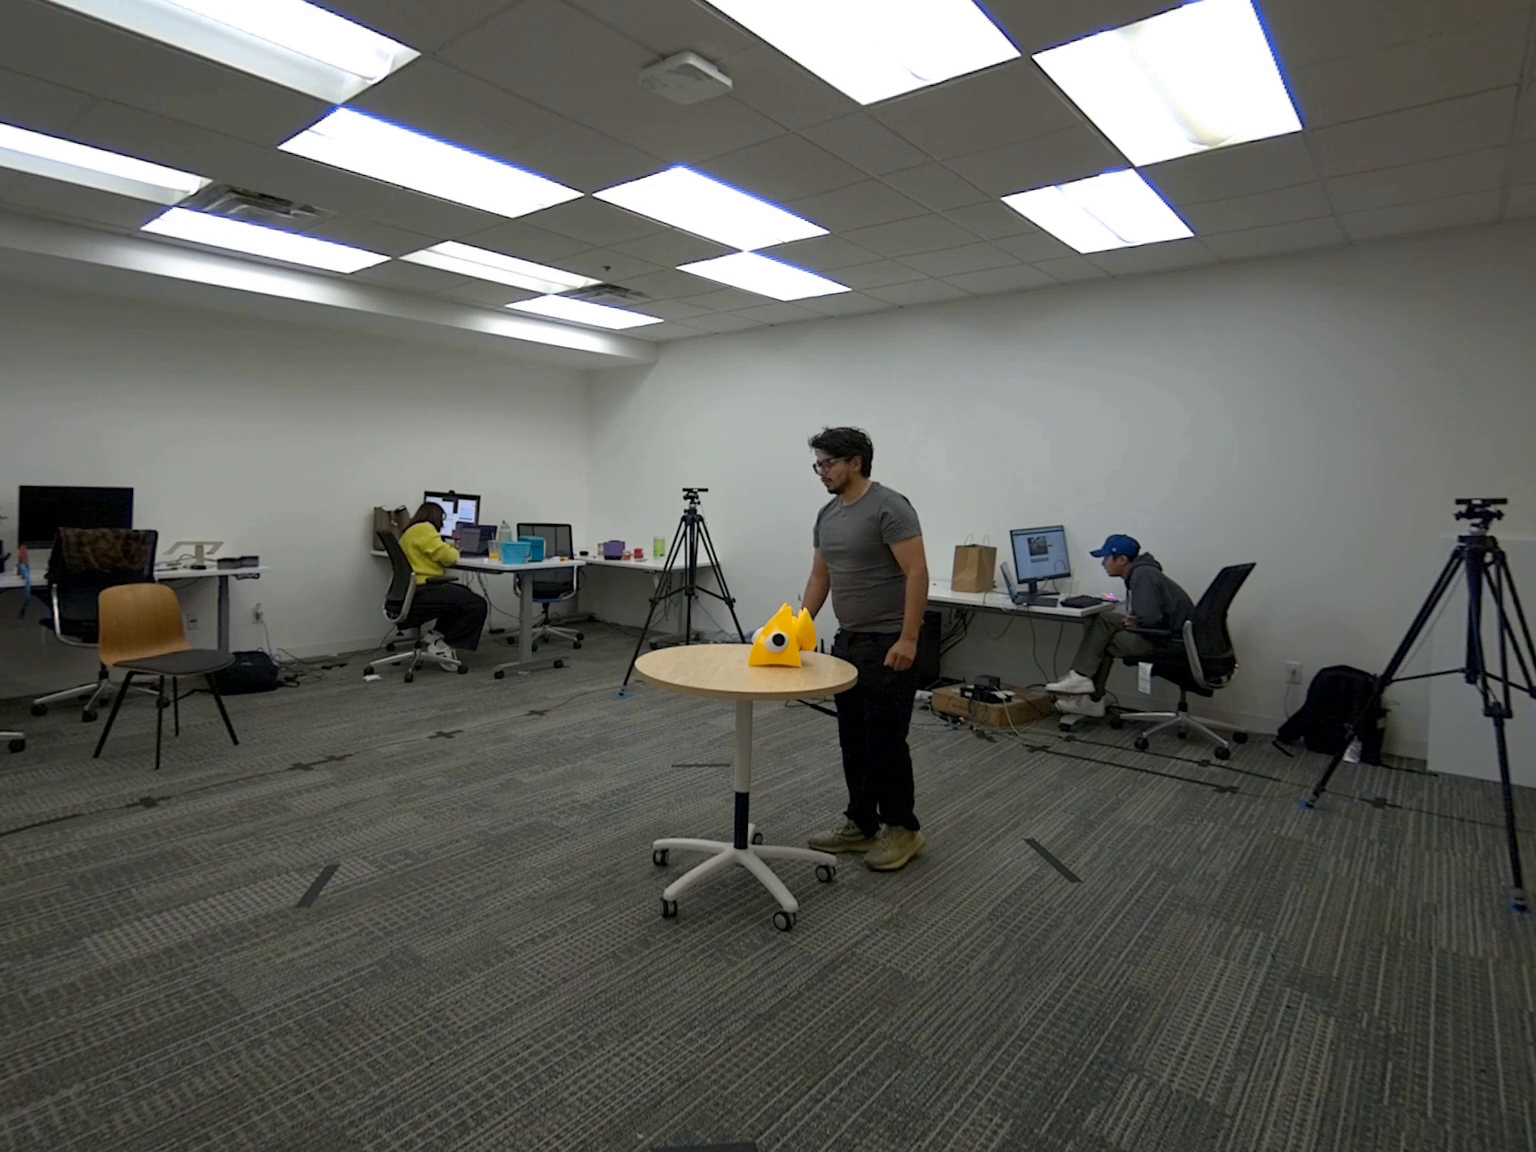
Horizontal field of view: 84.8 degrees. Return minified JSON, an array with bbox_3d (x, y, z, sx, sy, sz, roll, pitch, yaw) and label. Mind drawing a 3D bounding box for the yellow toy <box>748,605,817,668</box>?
[{"bbox_3d":[0.006,0.219,2.972,0.226,0.191,0.211,-15,13,-27],"label":"yellow toy"}]
